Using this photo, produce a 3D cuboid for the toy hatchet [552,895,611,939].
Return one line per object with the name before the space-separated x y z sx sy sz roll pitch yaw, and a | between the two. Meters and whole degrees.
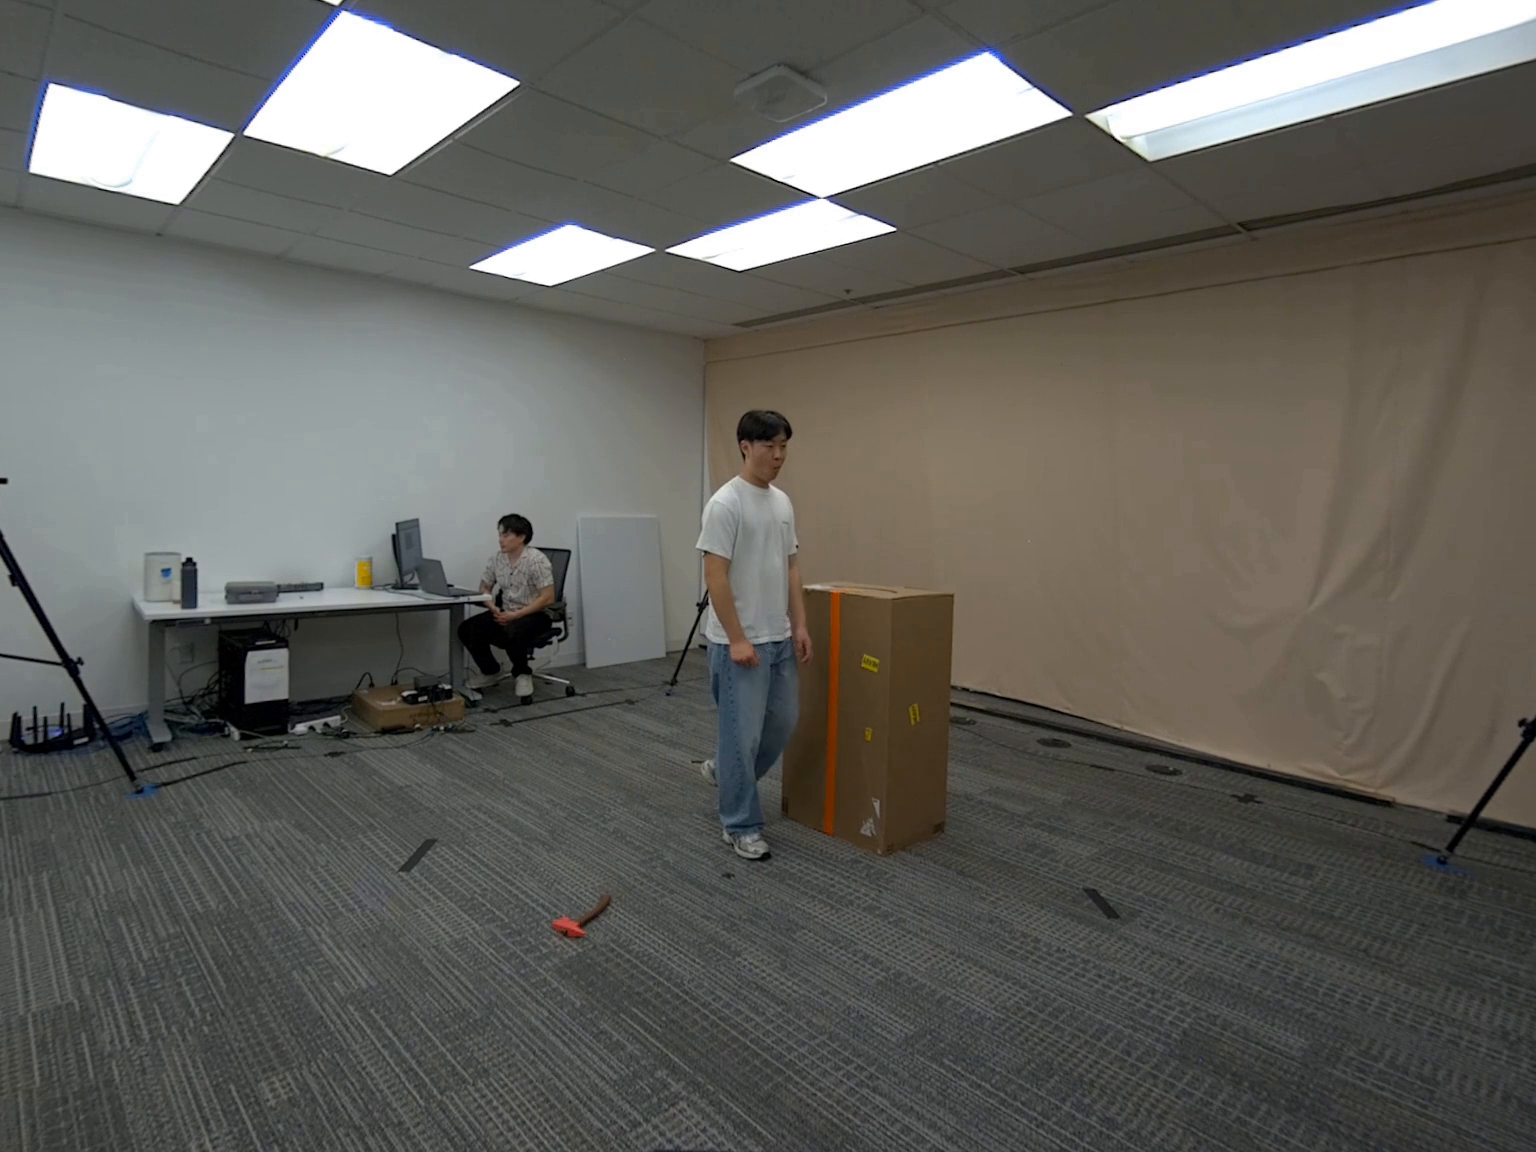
toy hatchet | -0.623 1.115 2.771 0.132 0.029 0.268 1 3 9
